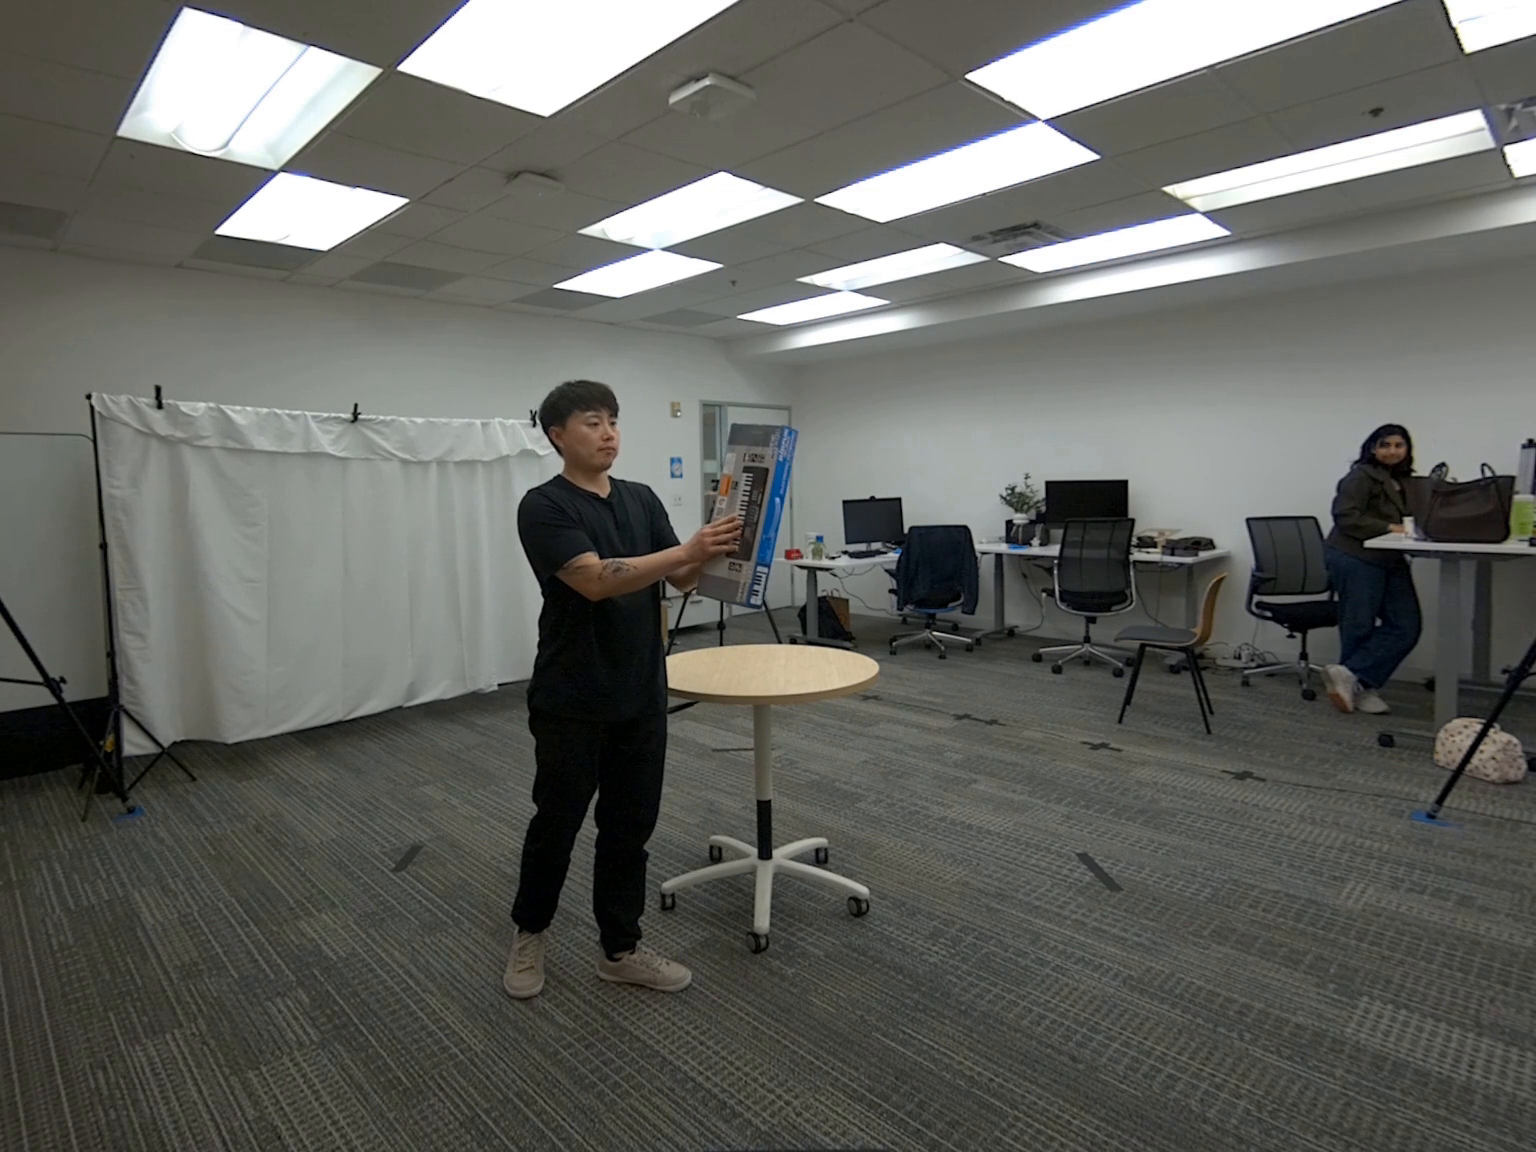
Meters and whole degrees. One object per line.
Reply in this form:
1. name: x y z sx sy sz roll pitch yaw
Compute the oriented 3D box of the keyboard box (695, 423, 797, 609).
1. keyboard box: -0.052 -0.149 2.076 0.182 0.437 0.057 9 -3 43
